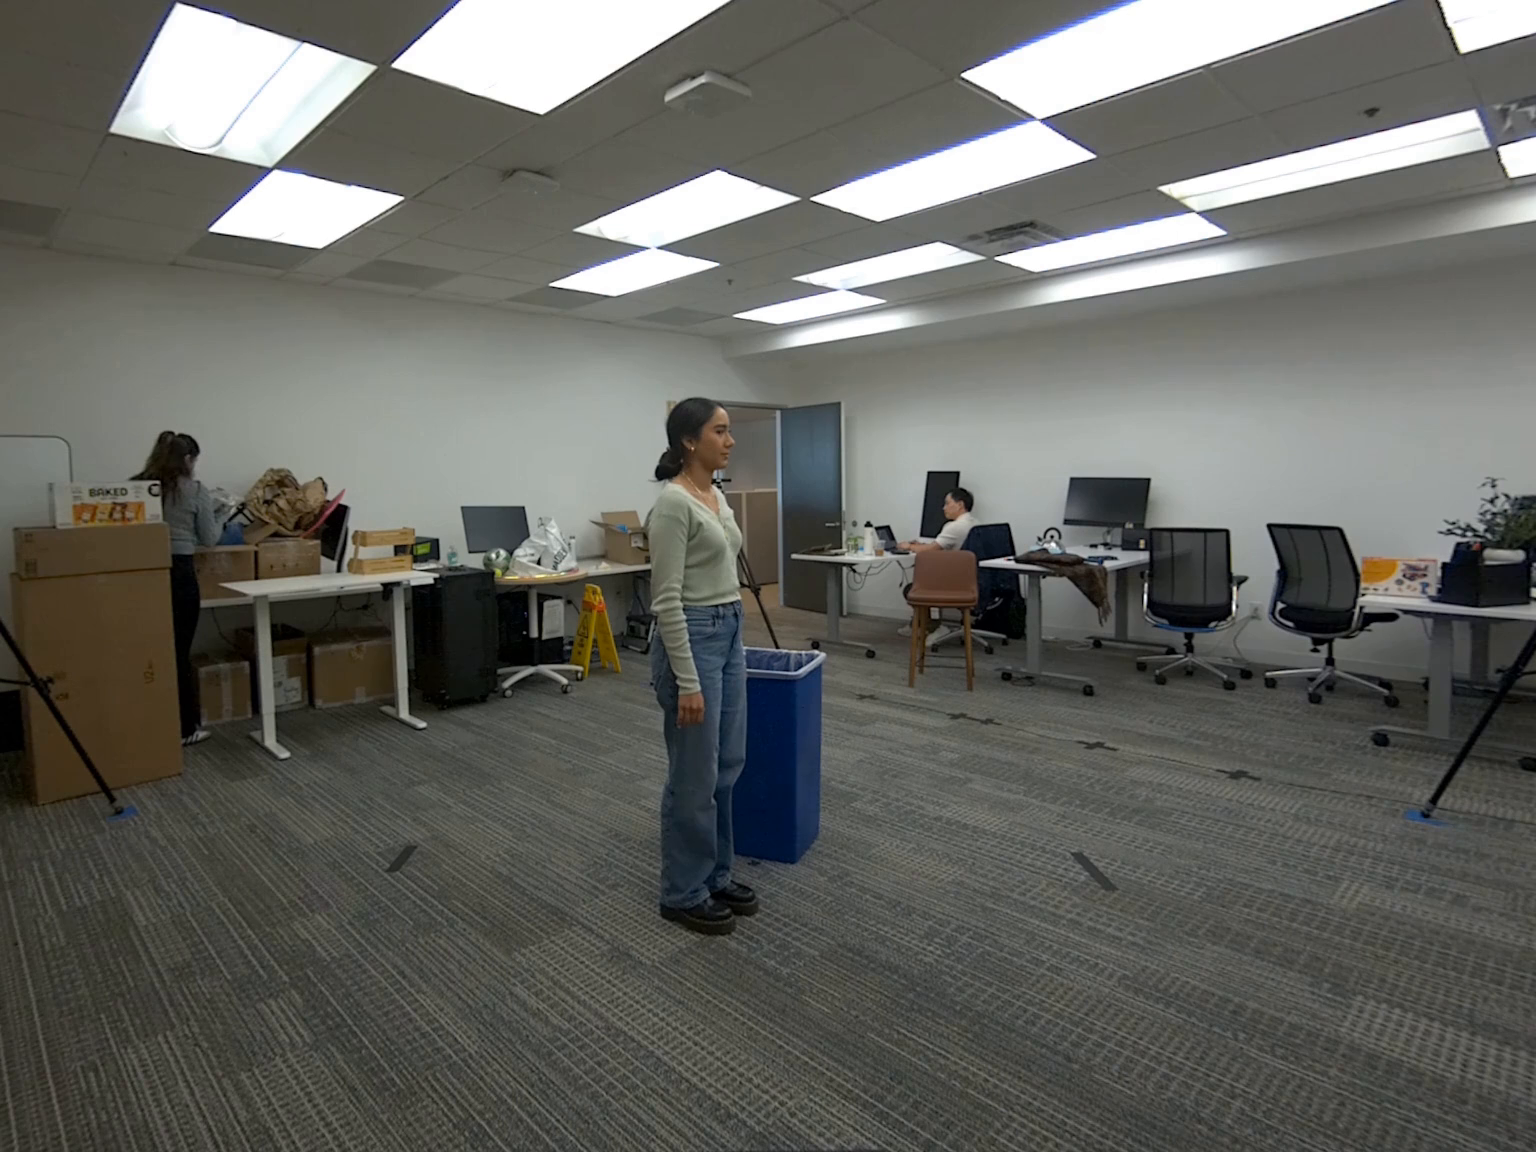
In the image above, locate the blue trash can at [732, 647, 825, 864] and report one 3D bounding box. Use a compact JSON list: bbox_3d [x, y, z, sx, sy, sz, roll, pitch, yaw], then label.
[{"bbox_3d":[0.007,0.669,3.252,0.386,0.711,0.368,1,4,22],"label":"blue trash can"}]
